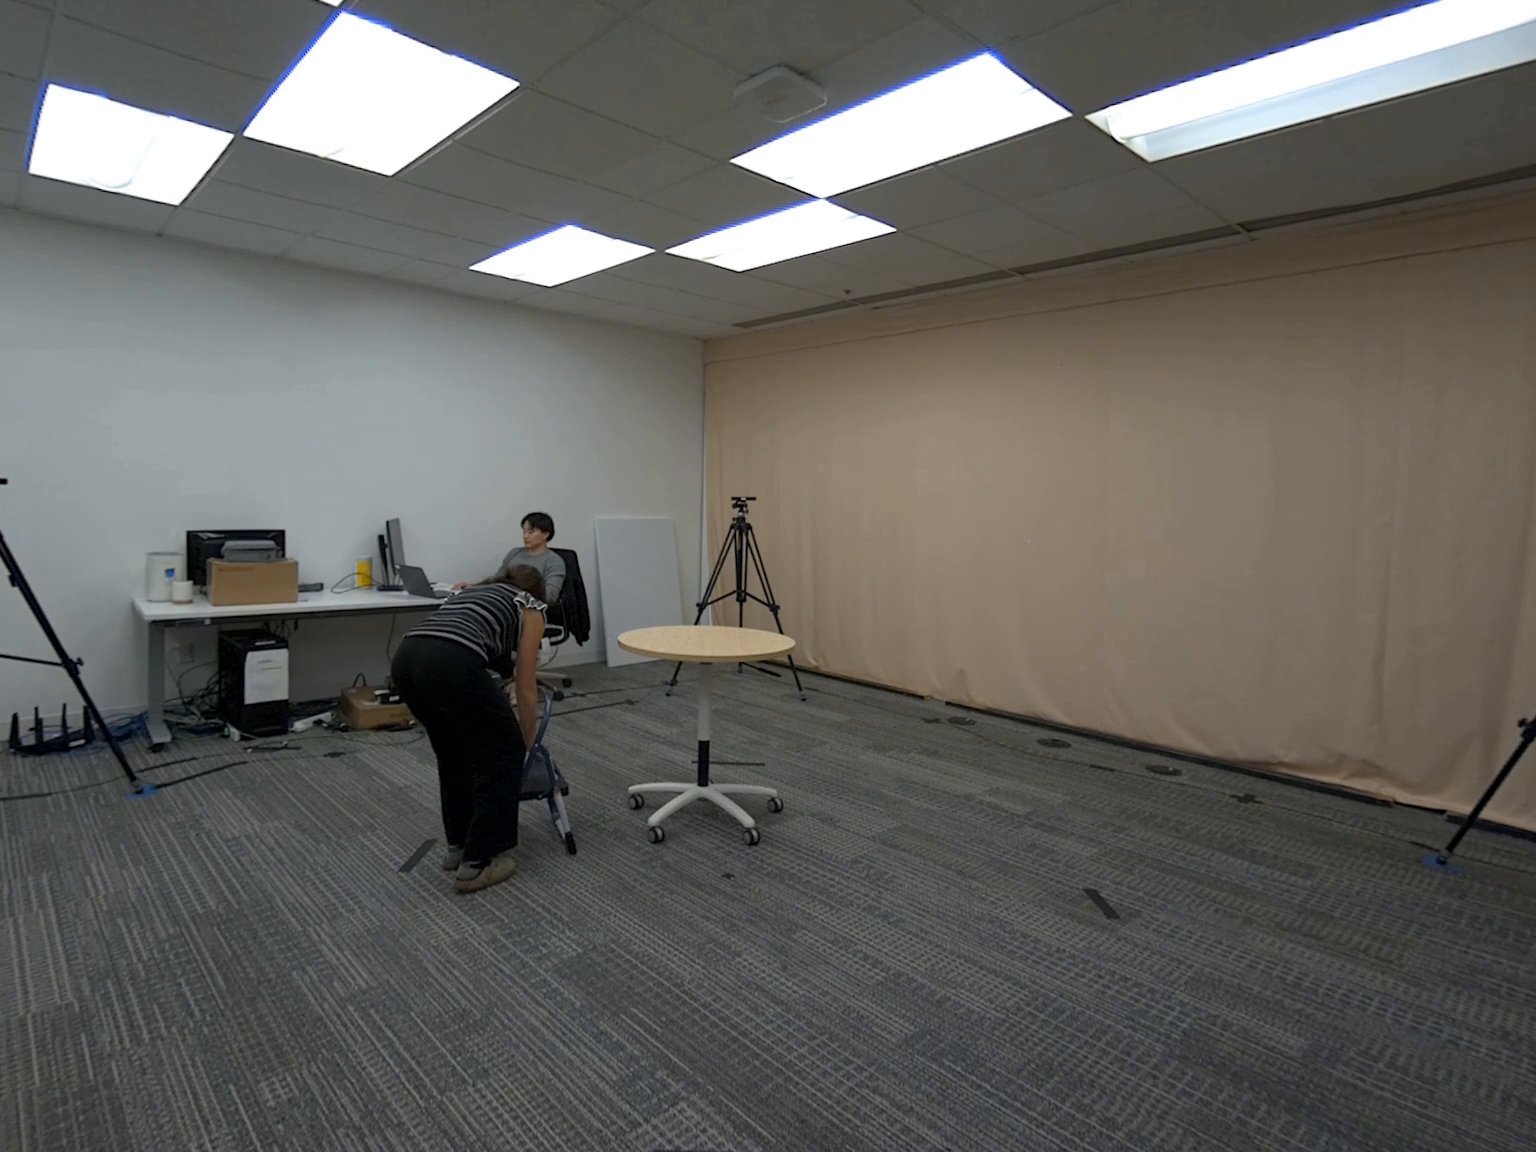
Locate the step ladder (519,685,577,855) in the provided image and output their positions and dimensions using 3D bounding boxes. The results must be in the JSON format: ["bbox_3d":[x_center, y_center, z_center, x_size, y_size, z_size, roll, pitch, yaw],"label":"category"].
[{"bbox_3d":[-0.978,0.763,3.371,0.343,0.605,0.439,0,4,-23],"label":"step ladder"}]
